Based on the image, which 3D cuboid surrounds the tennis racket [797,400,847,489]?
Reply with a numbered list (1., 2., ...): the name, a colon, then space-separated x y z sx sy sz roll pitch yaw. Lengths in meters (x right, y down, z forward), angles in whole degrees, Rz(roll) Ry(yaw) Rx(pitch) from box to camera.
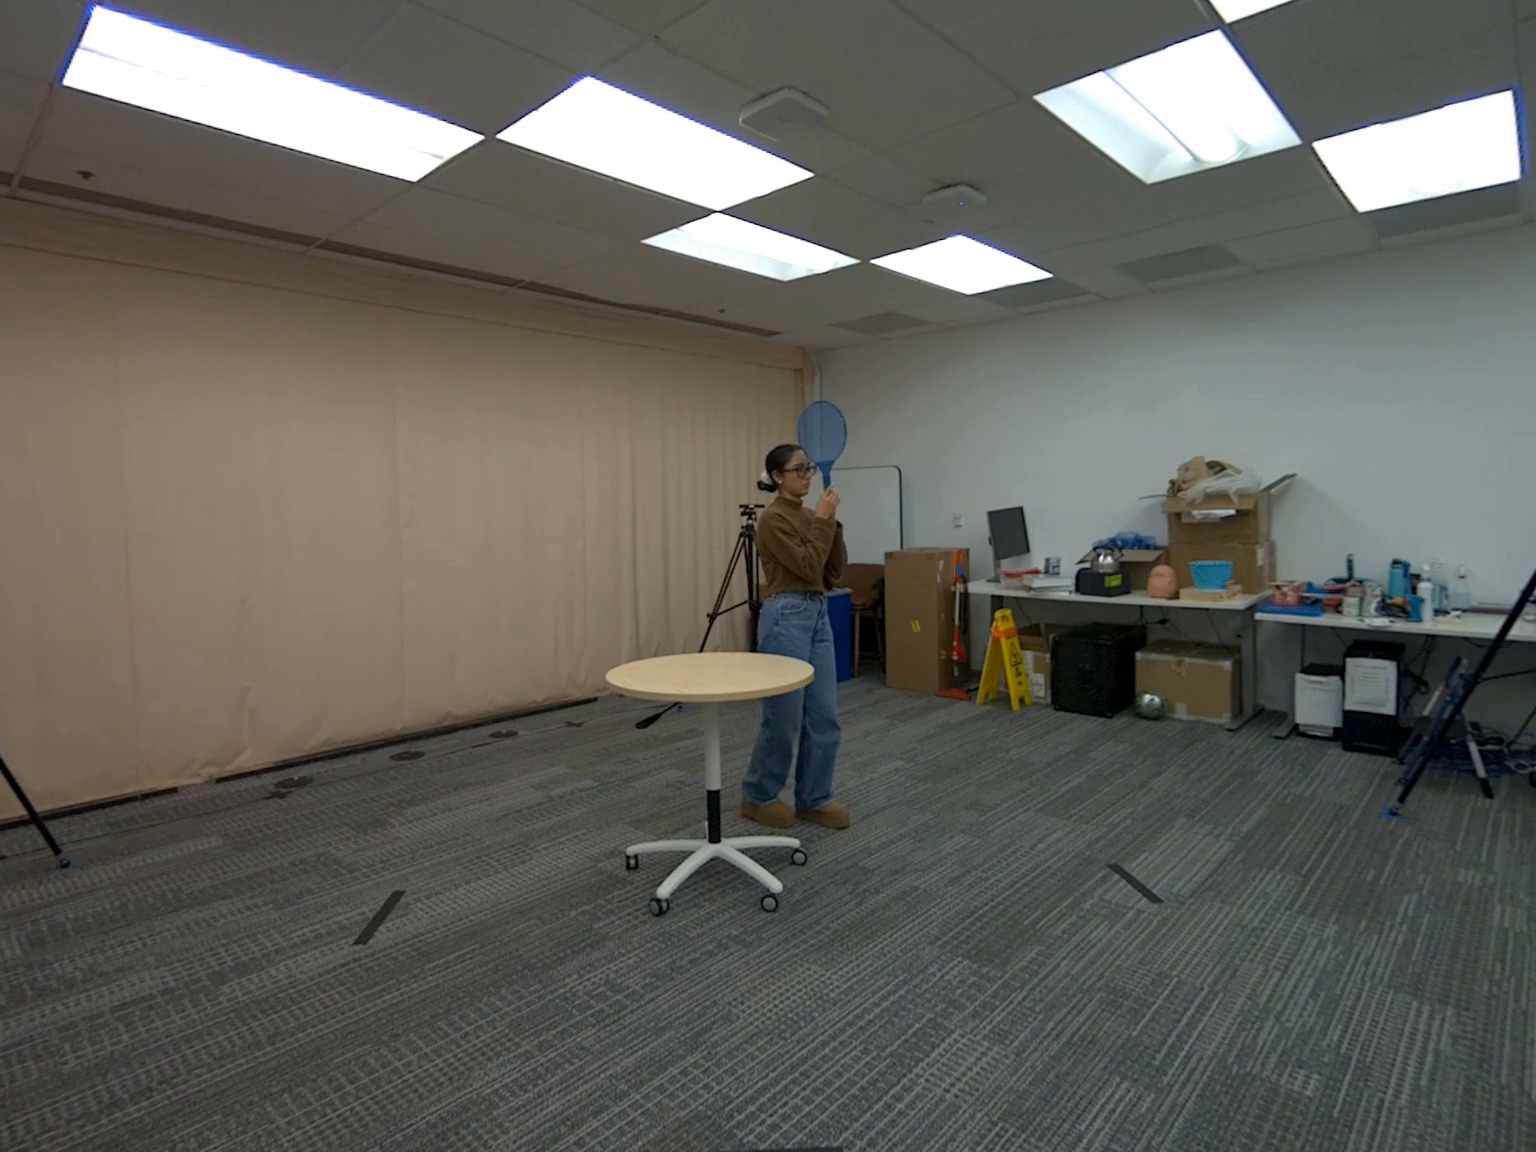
1. tennis racket: 0.237 -0.518 3.533 0.211 0.431 0.032 0 8 -11
